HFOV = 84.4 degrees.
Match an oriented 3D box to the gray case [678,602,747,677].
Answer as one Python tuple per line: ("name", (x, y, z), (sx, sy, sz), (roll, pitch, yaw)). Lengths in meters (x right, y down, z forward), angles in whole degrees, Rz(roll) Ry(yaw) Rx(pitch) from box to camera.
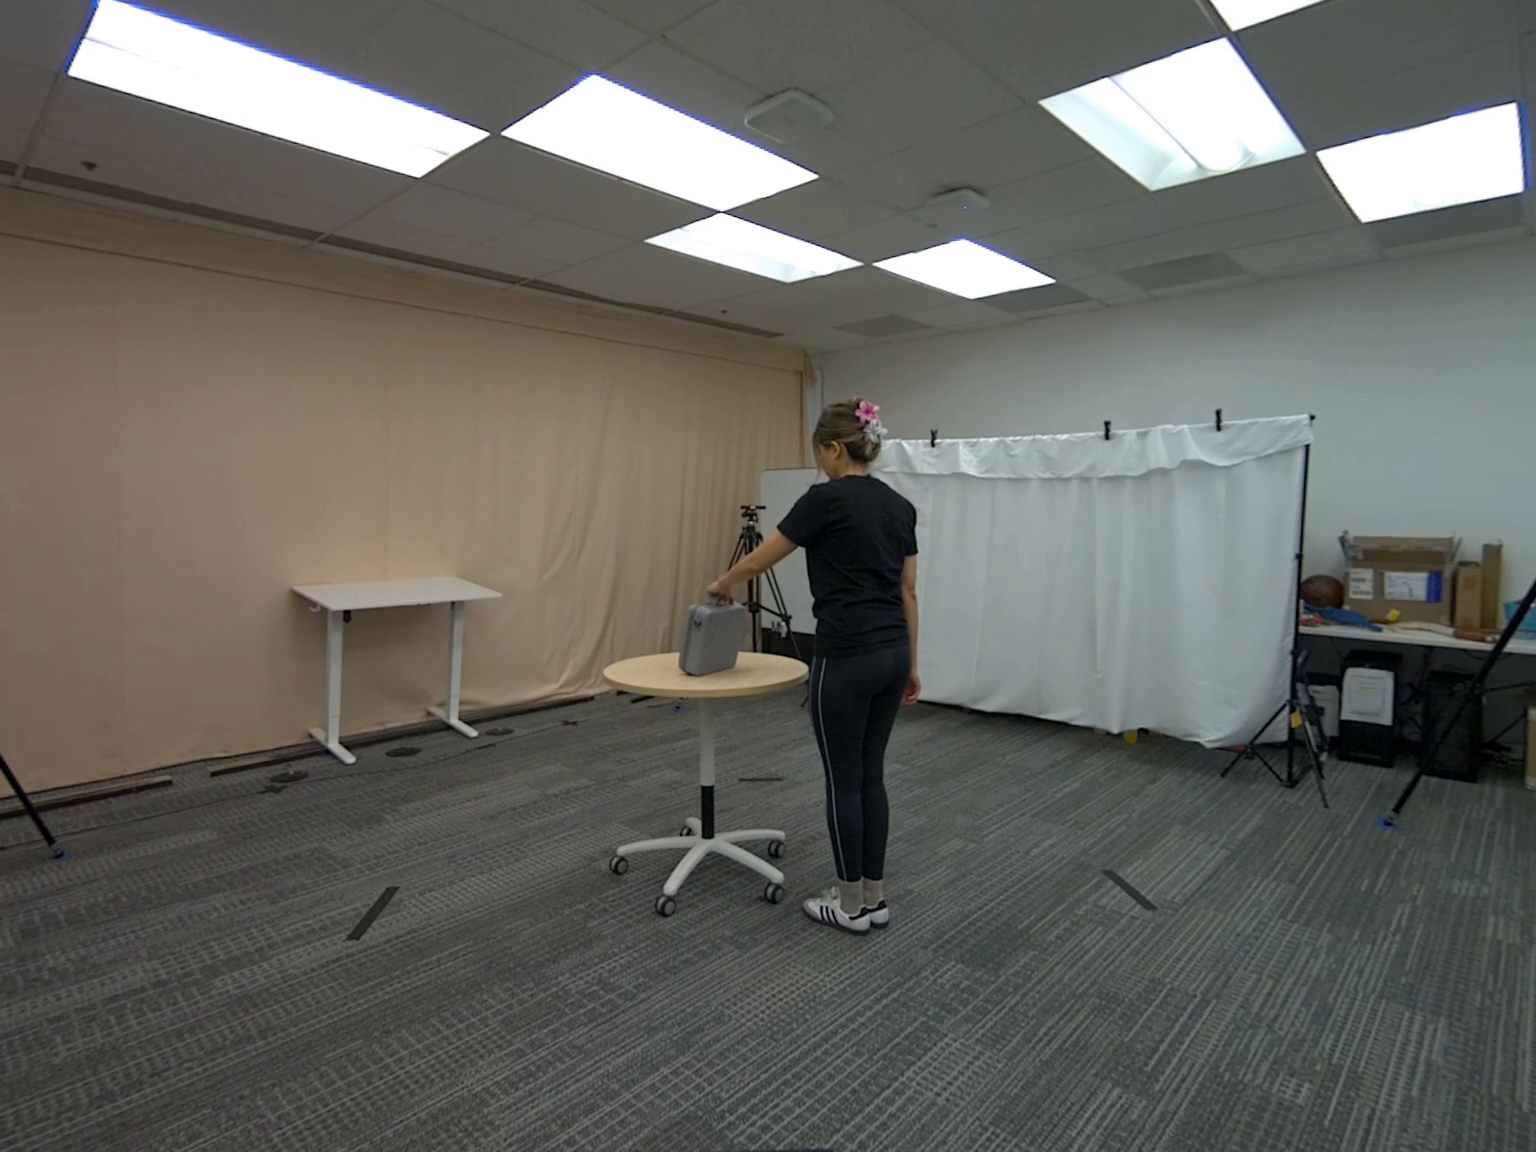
("gray case", (-0.200, 0.220, 3.087), (0.108, 0.259, 0.250), (17, 13, 31))
